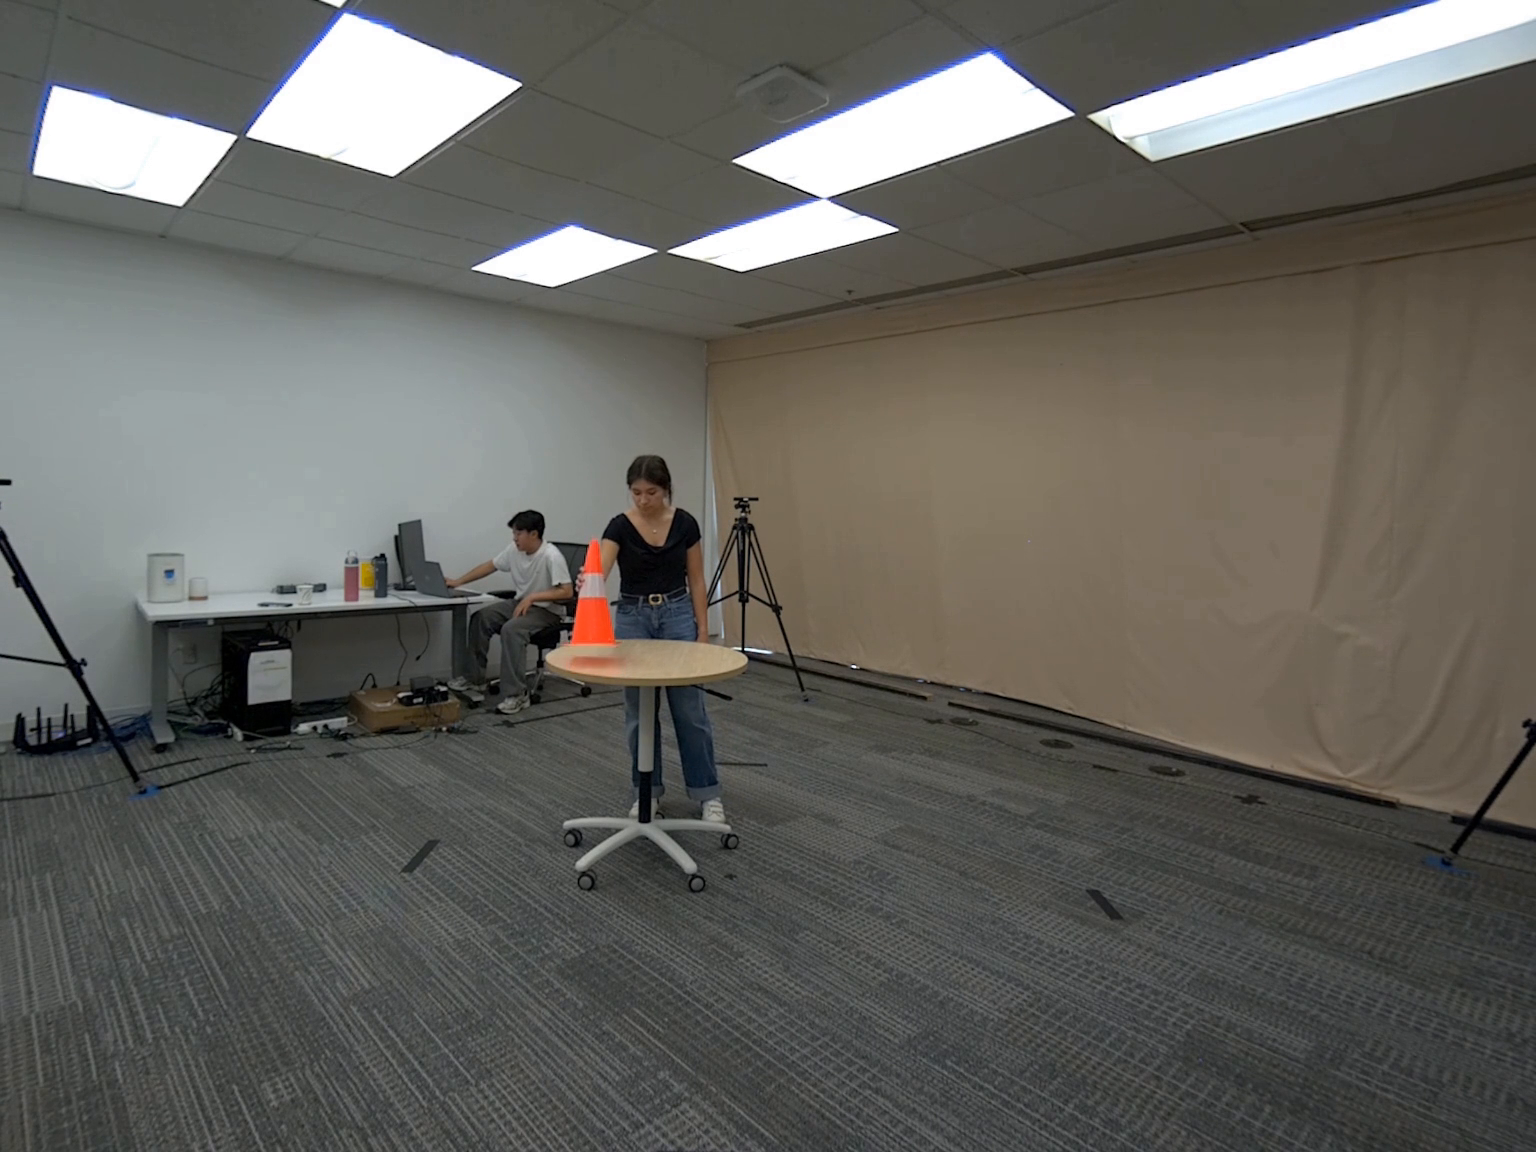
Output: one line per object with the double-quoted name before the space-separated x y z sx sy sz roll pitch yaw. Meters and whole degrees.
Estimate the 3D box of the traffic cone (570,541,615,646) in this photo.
"traffic cone" -0.658 0.065 3.099 0.202 0.385 0.205 2 -5 -8
